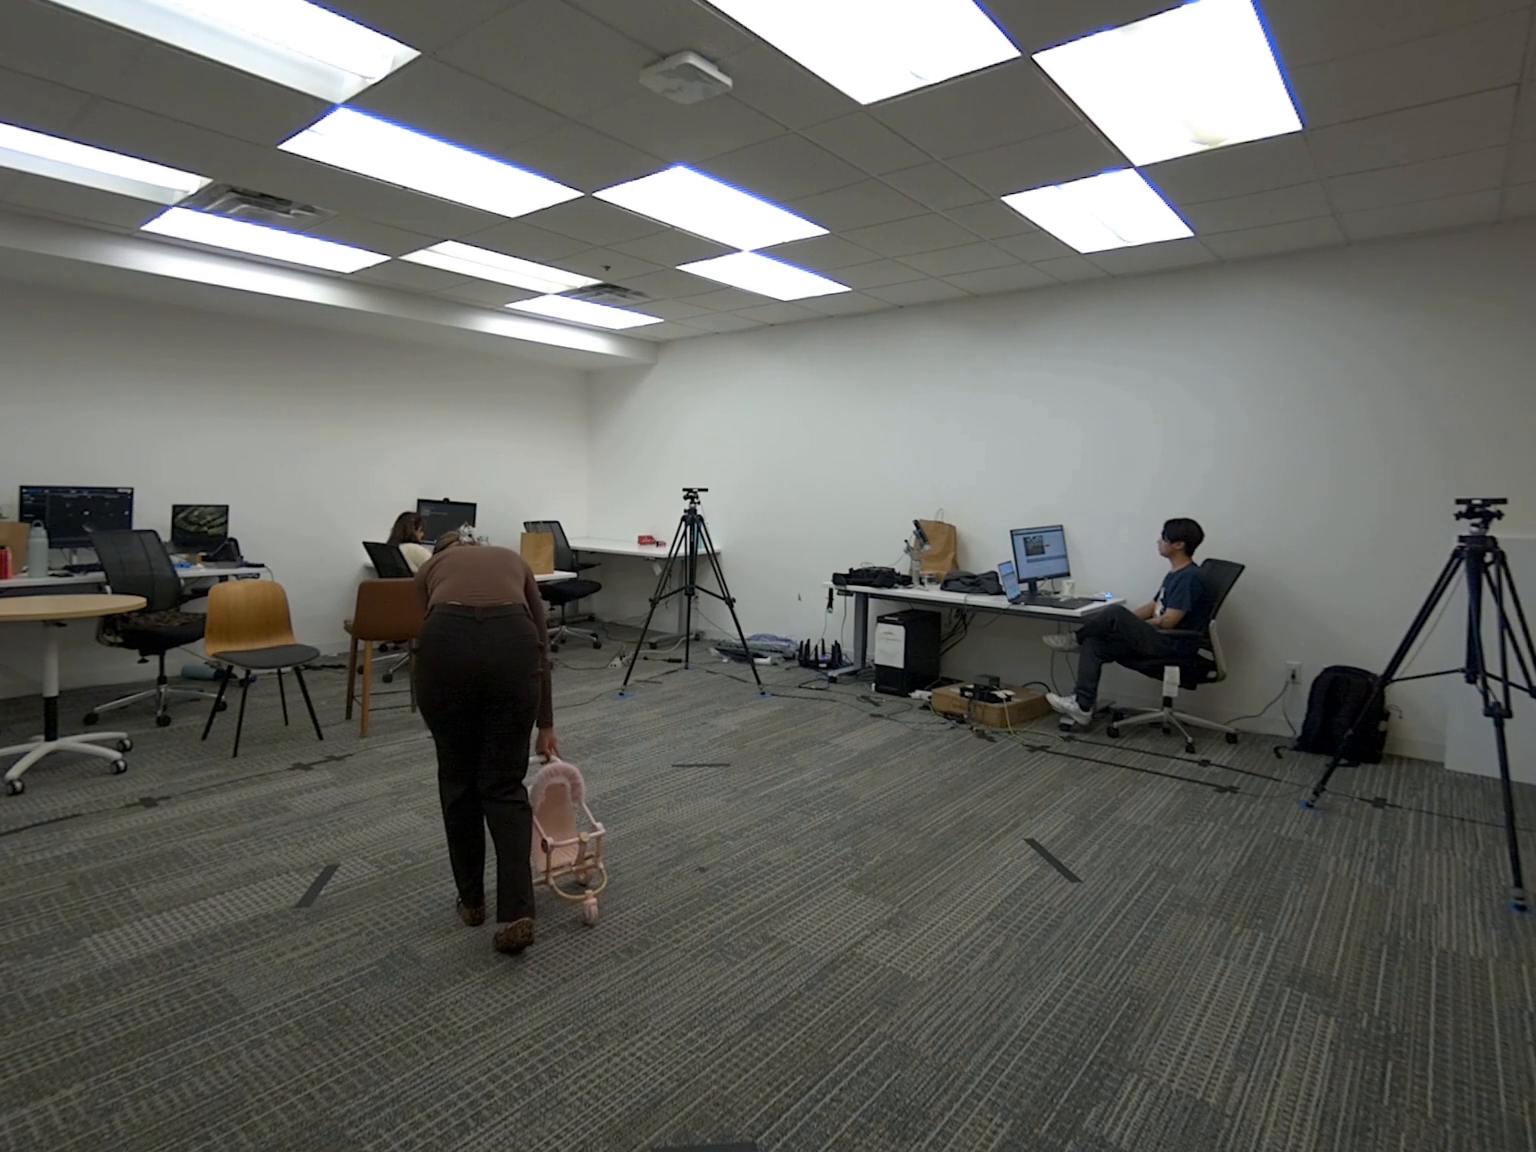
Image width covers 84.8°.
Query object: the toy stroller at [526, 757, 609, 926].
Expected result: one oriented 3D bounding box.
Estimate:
[{"bbox_3d":[-0.701,0.863,2.838,0.273,0.541,0.348,-3,-11,-39],"label":"toy stroller"}]
